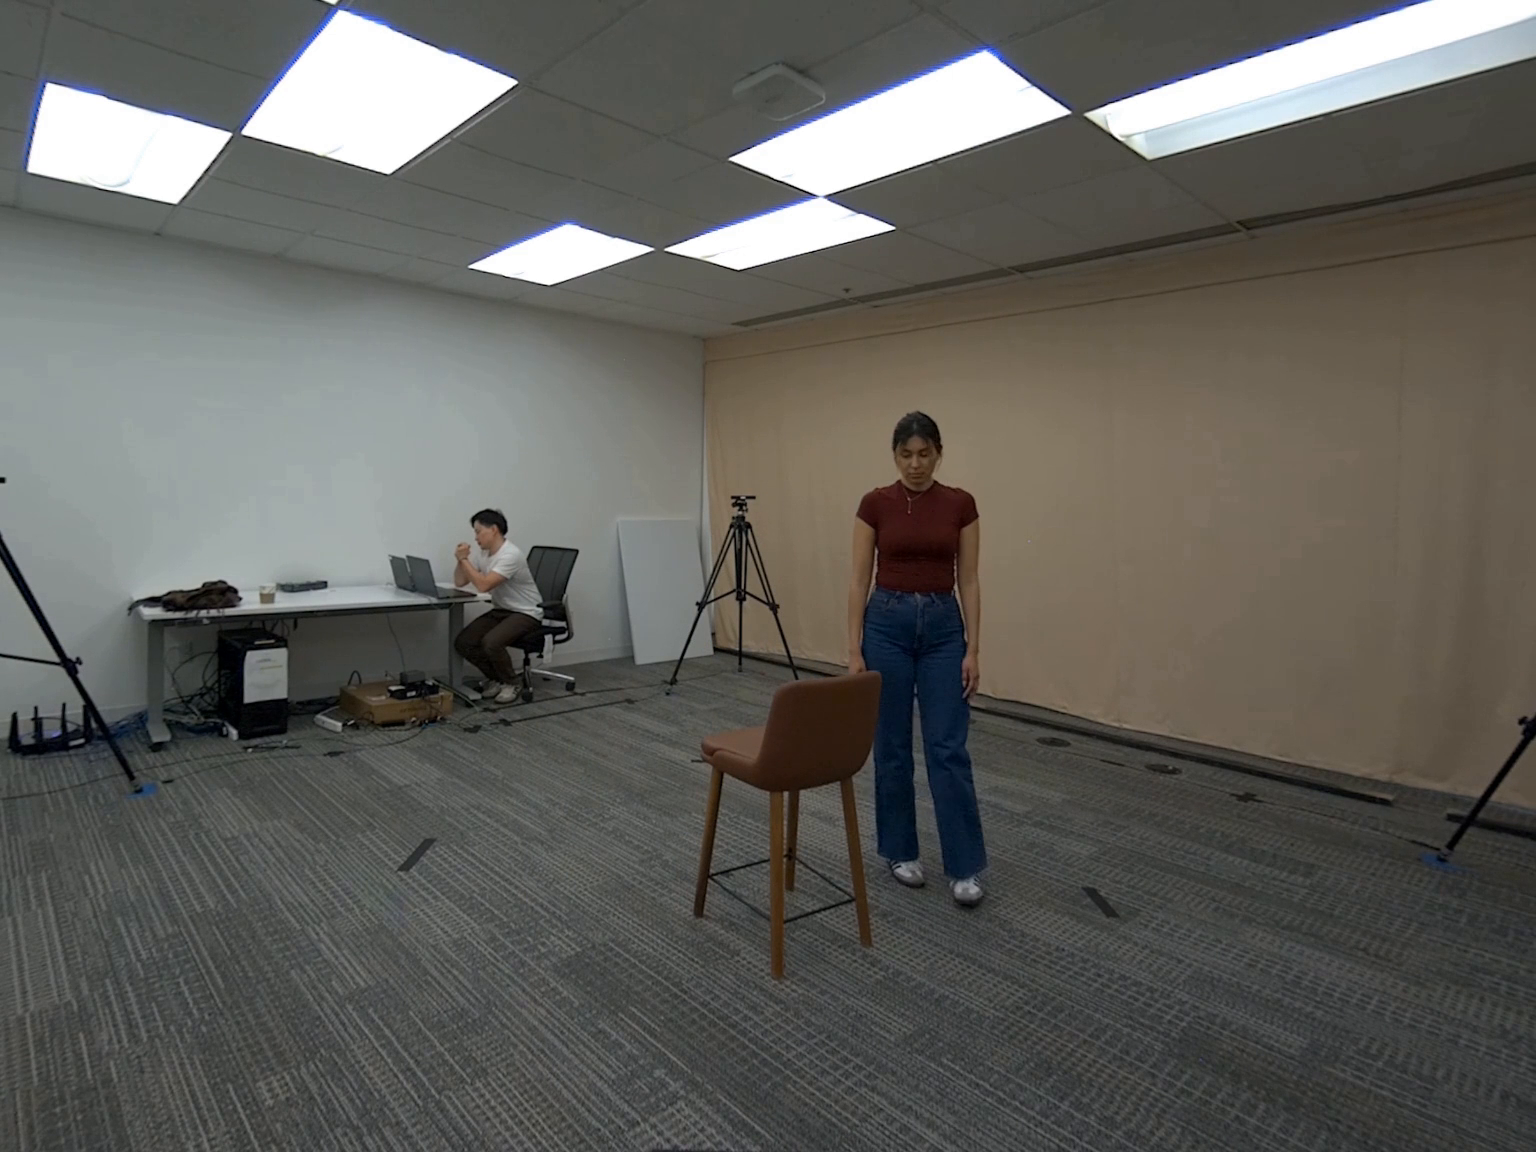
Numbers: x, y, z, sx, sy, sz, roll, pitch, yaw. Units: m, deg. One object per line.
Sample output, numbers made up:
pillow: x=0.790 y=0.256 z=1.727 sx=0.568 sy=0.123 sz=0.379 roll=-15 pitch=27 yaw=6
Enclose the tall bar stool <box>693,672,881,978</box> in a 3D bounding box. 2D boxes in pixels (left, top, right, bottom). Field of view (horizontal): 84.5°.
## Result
tall bar stool: x=0.052 y=0.711 z=2.683 sx=0.446 sy=0.886 sz=0.479 roll=-1 pitch=6 yaw=-35
